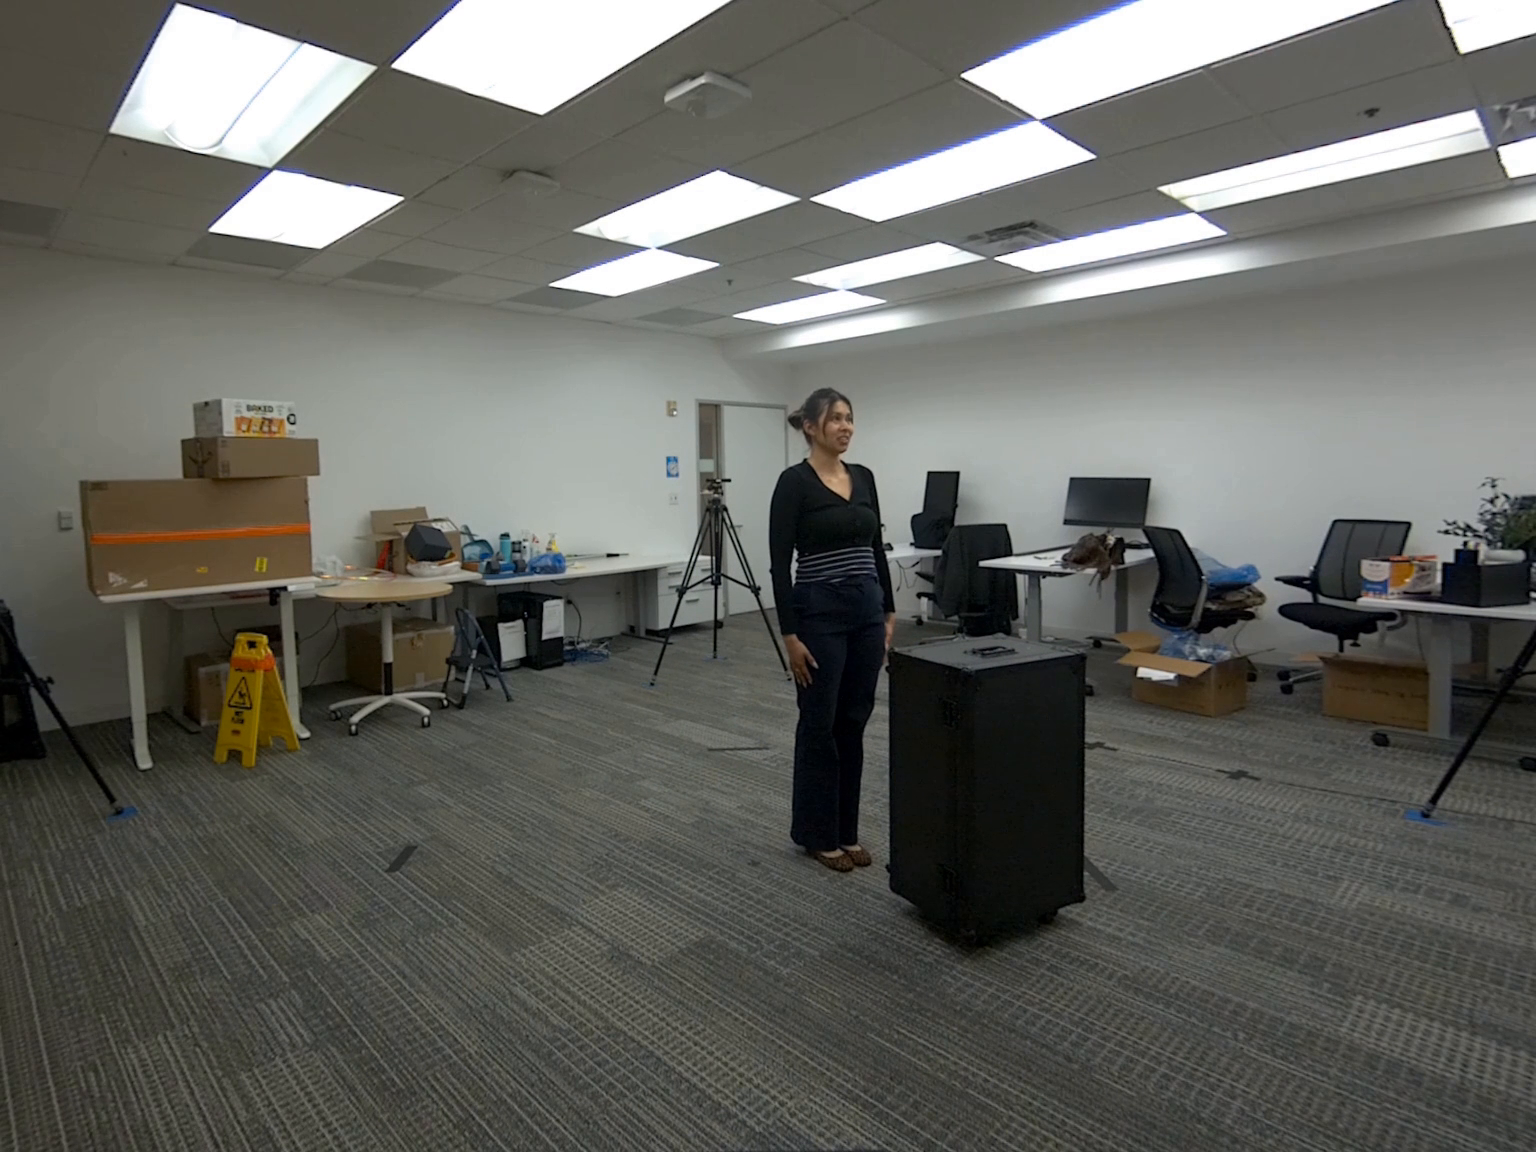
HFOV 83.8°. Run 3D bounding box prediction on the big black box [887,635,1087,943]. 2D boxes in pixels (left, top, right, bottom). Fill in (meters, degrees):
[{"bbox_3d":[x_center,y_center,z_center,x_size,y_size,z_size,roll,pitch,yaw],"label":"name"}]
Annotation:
[{"bbox_3d":[0.677,0.653,2.677,0.509,0.858,0.407,-4,4,-28],"label":"big black box"}]
